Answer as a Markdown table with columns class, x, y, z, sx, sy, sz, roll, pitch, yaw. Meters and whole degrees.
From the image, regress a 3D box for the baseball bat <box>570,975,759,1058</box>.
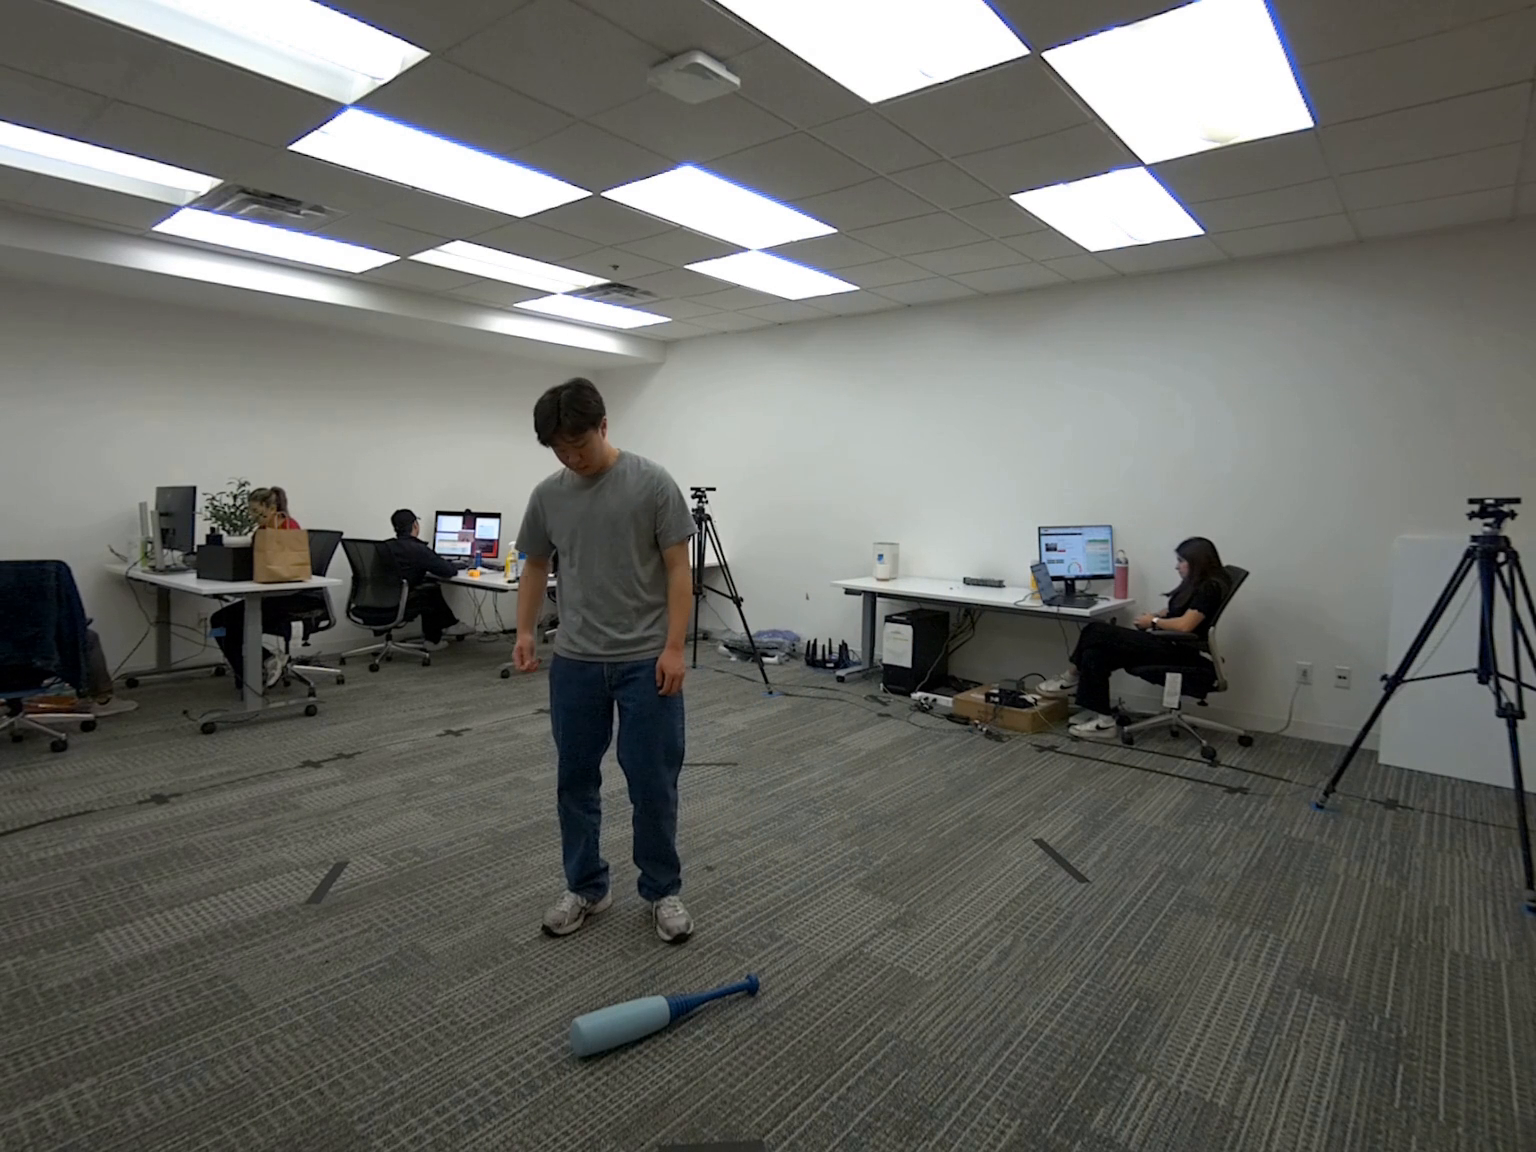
| class | x | y | z | sx | sy | sz | roll | pitch | yaw |
| --- | --- | --- | --- | --- | --- | --- | --- | --- | --- |
| baseball bat | -0.261 | 1.121 | 2.207 | 0.527 | 0.089 | 0.092 | 1 | 3 | -33 |
